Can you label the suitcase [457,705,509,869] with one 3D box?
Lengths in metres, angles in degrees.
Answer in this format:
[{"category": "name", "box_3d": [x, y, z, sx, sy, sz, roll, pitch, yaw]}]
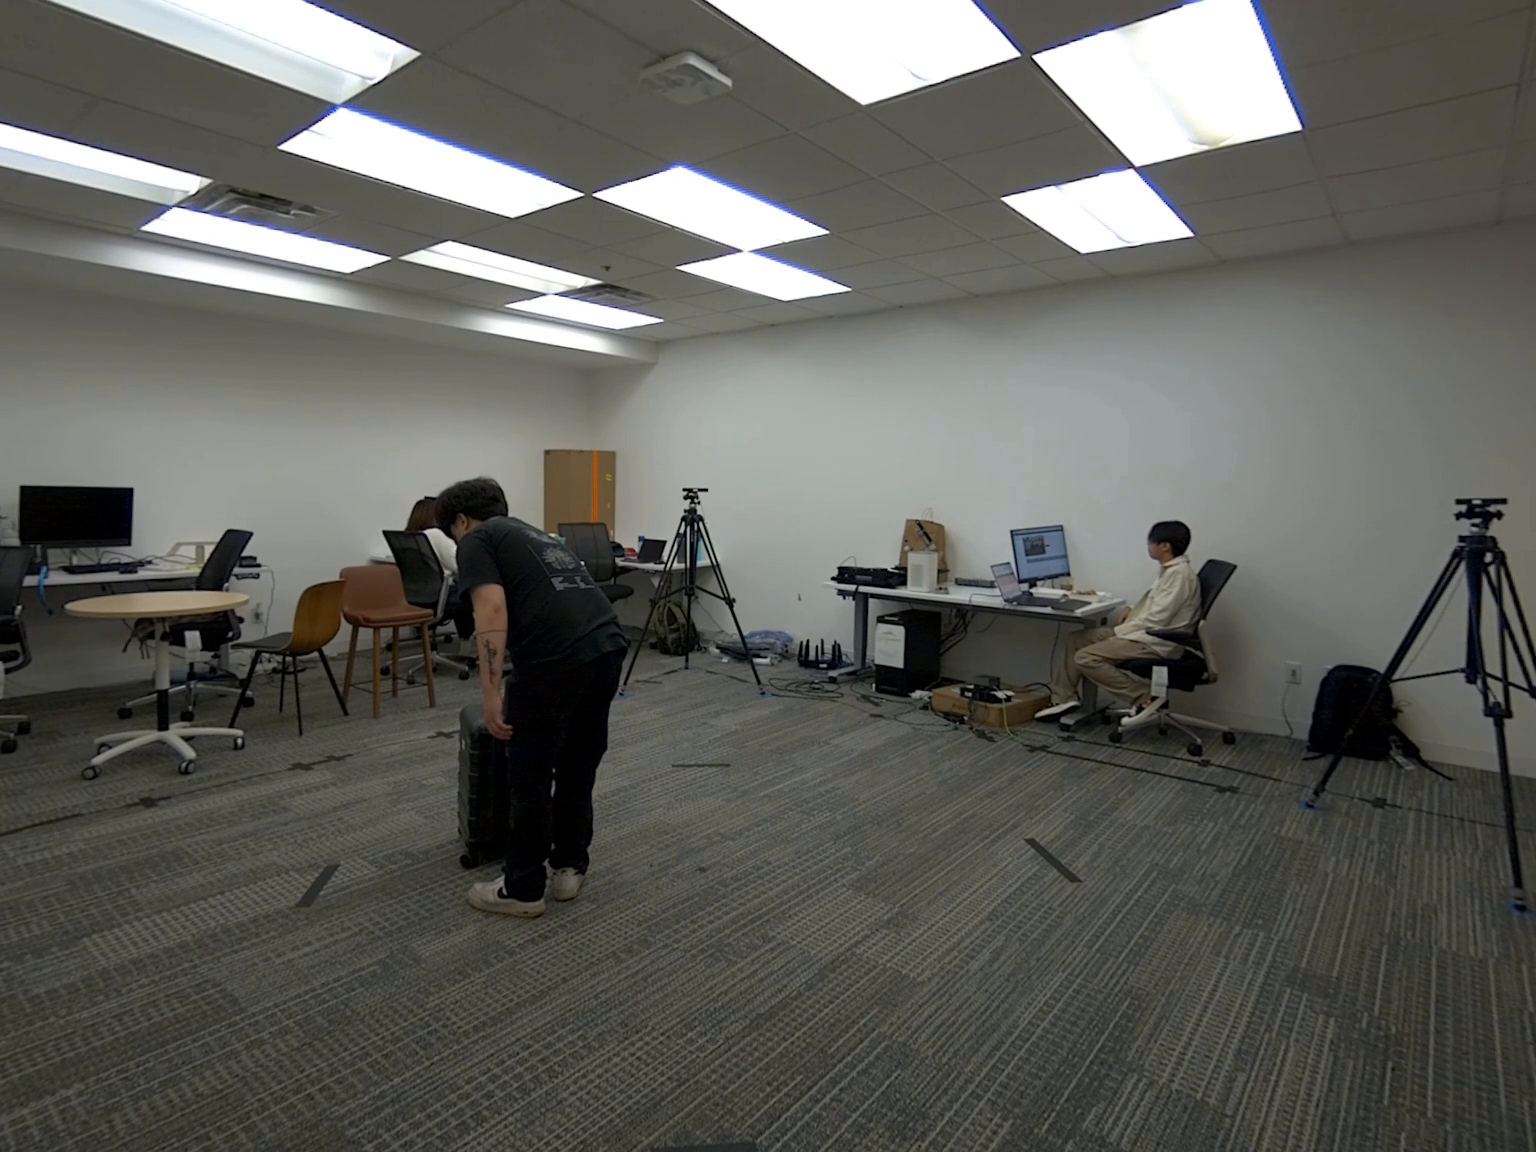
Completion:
[{"category": "suitcase", "box_3d": [-1.056, 0.764, 3.255, 0.242, 0.547, 0.386, -1, 5, -26]}]
